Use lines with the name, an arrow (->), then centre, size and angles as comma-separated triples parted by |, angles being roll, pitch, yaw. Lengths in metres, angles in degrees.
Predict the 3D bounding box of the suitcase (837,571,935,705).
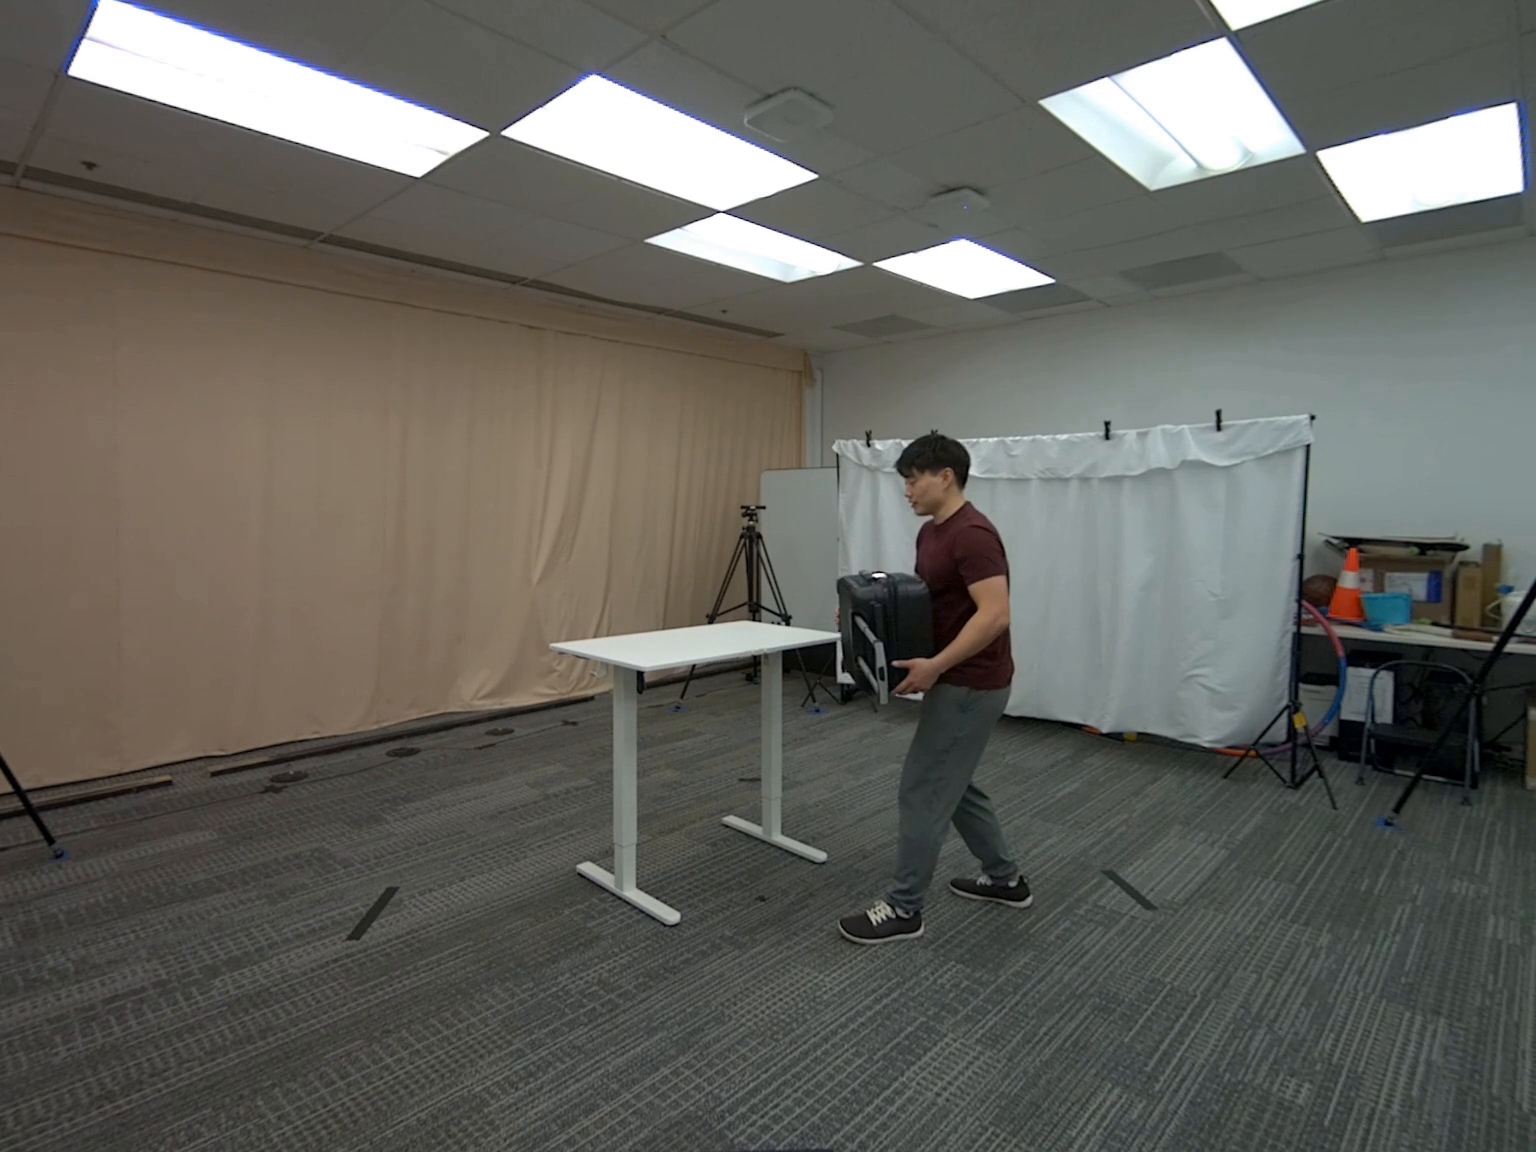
suitcase -> 0.386, 0.189, 2.605 | 0.257, 0.383, 0.979 | -4, 3, 0
